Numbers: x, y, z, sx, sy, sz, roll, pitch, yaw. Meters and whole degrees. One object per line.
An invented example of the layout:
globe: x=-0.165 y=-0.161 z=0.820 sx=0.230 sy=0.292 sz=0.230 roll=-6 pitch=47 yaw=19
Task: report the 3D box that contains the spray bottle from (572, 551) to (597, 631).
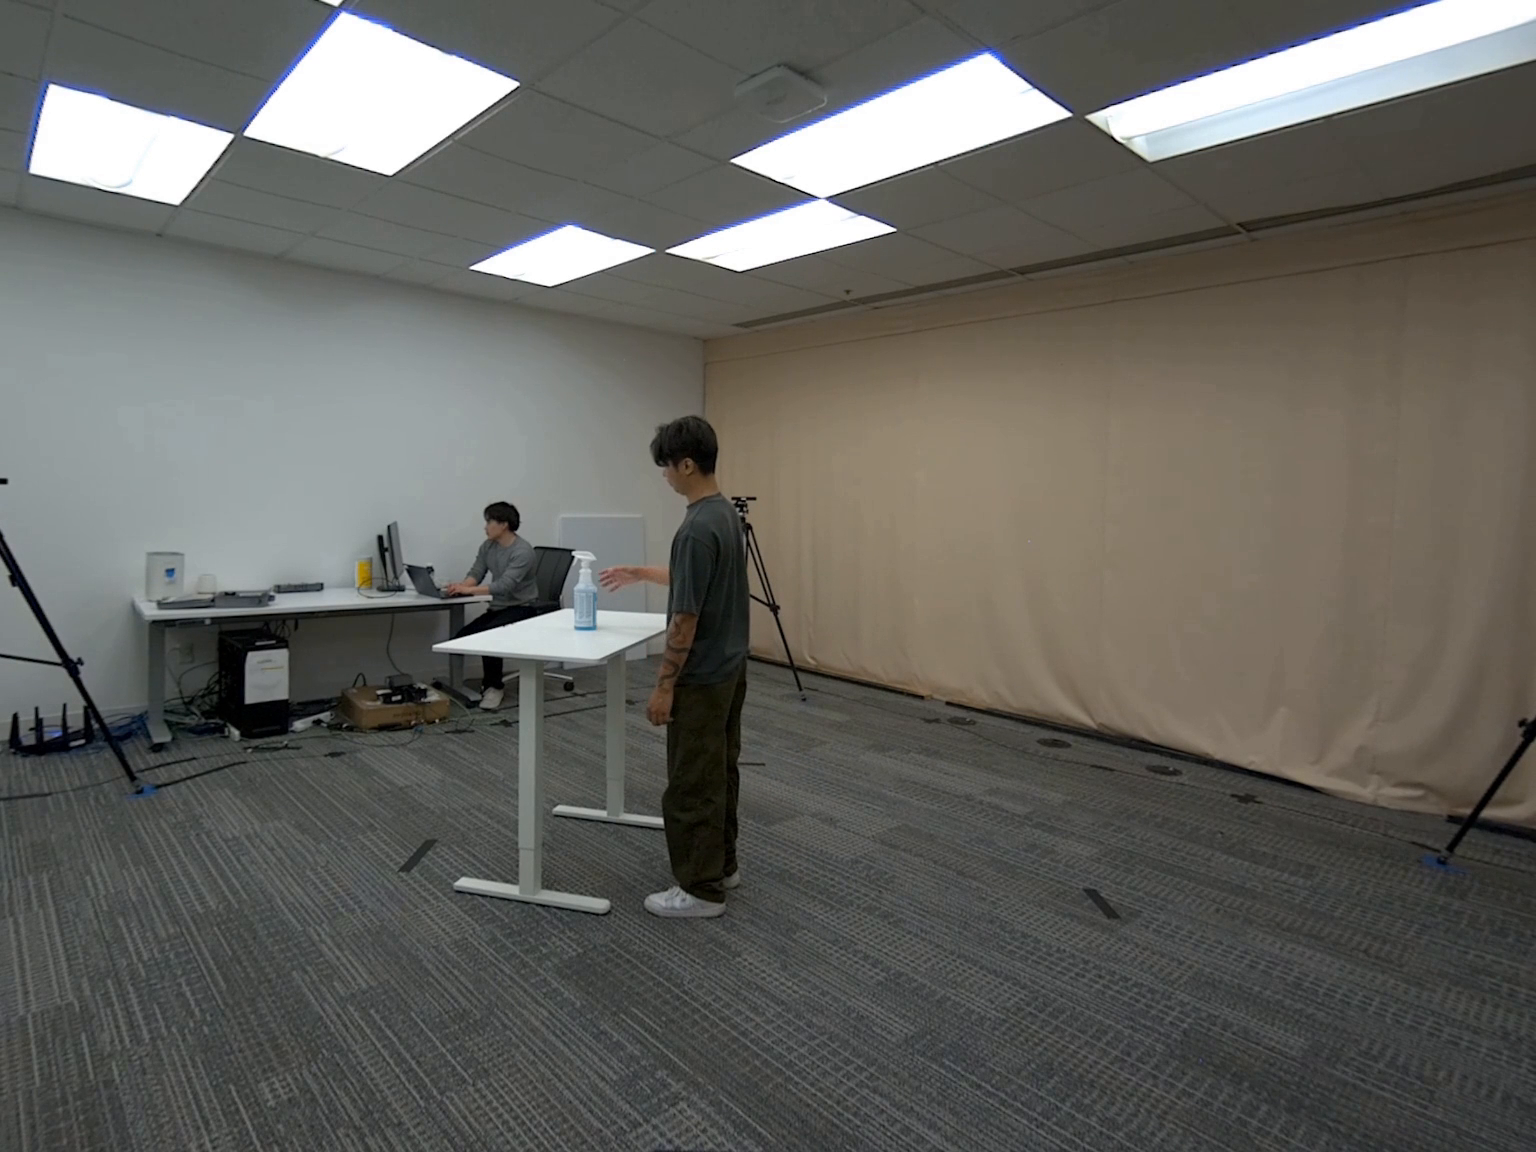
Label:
spray bottle: x=-0.700 y=0.058 z=3.201 sx=0.092 sy=0.296 sz=0.085 roll=1 pitch=7 yaw=29
